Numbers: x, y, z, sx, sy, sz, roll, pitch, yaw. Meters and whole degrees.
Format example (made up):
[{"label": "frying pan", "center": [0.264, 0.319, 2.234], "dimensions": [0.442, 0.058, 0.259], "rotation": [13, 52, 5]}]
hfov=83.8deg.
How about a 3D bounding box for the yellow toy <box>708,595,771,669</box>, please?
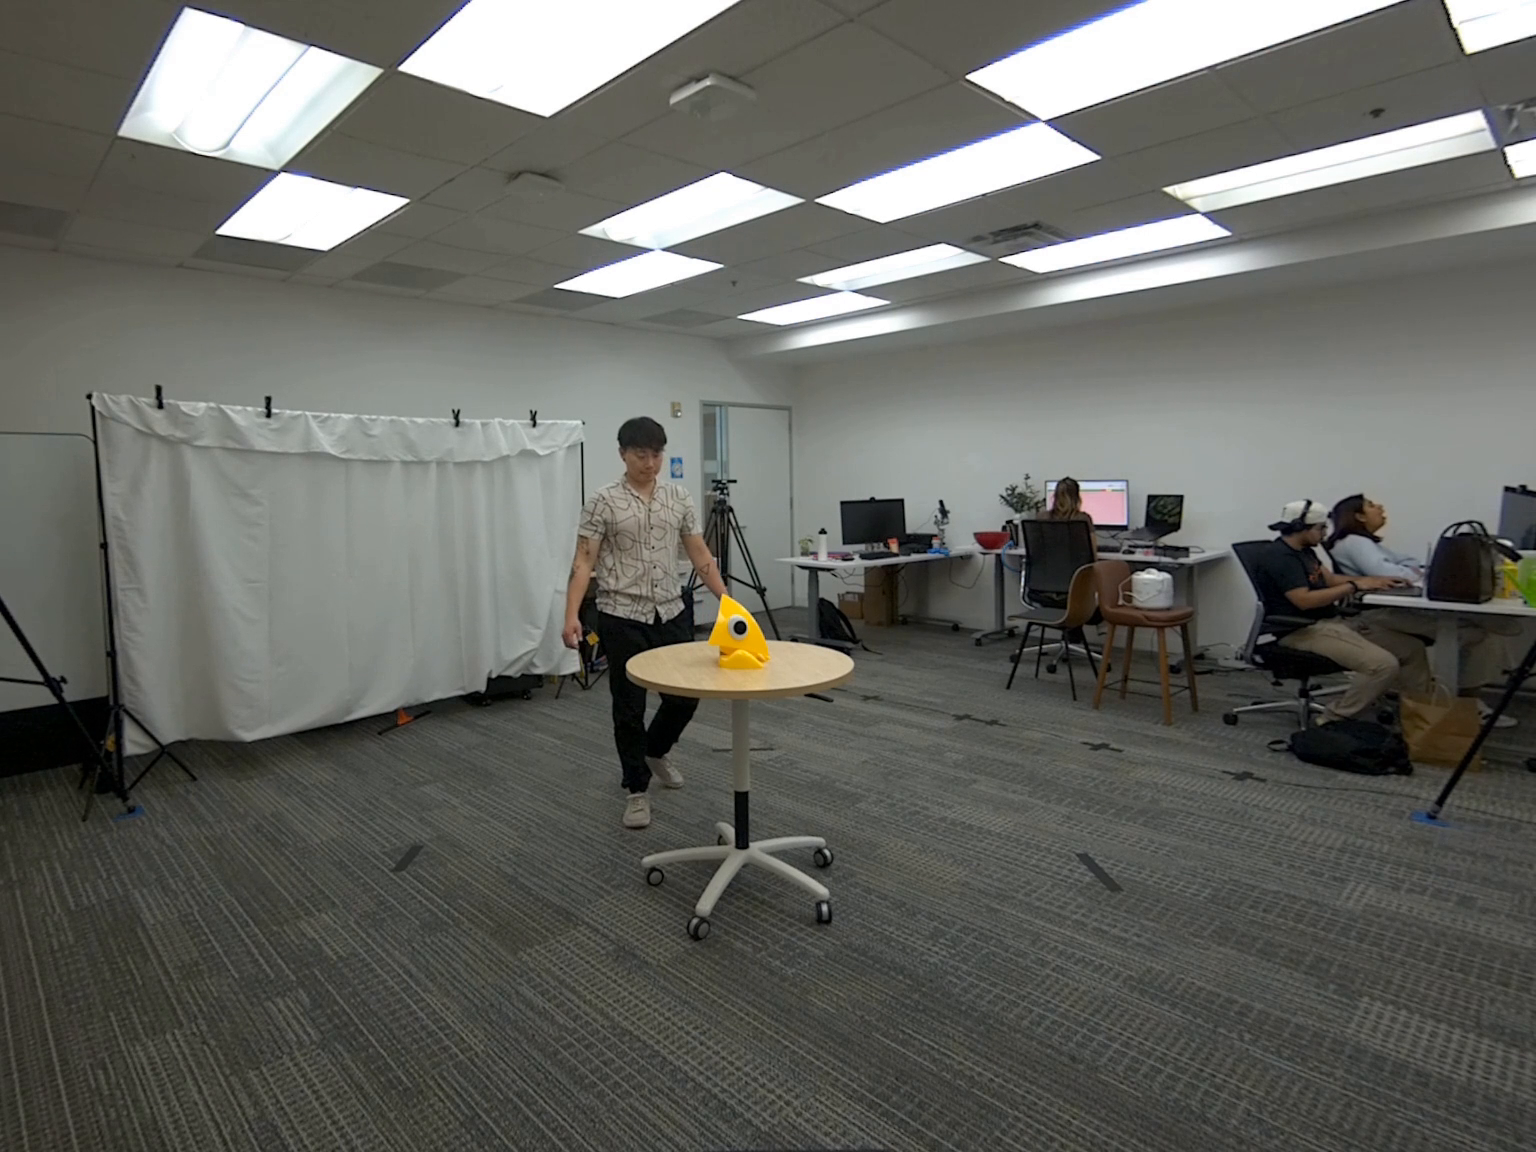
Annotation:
[{"label": "yellow toy", "center": [-0.089, 0.178, 2.871], "dimensions": [0.195, 0.230, 0.203], "rotation": [0, 5, 13]}]
